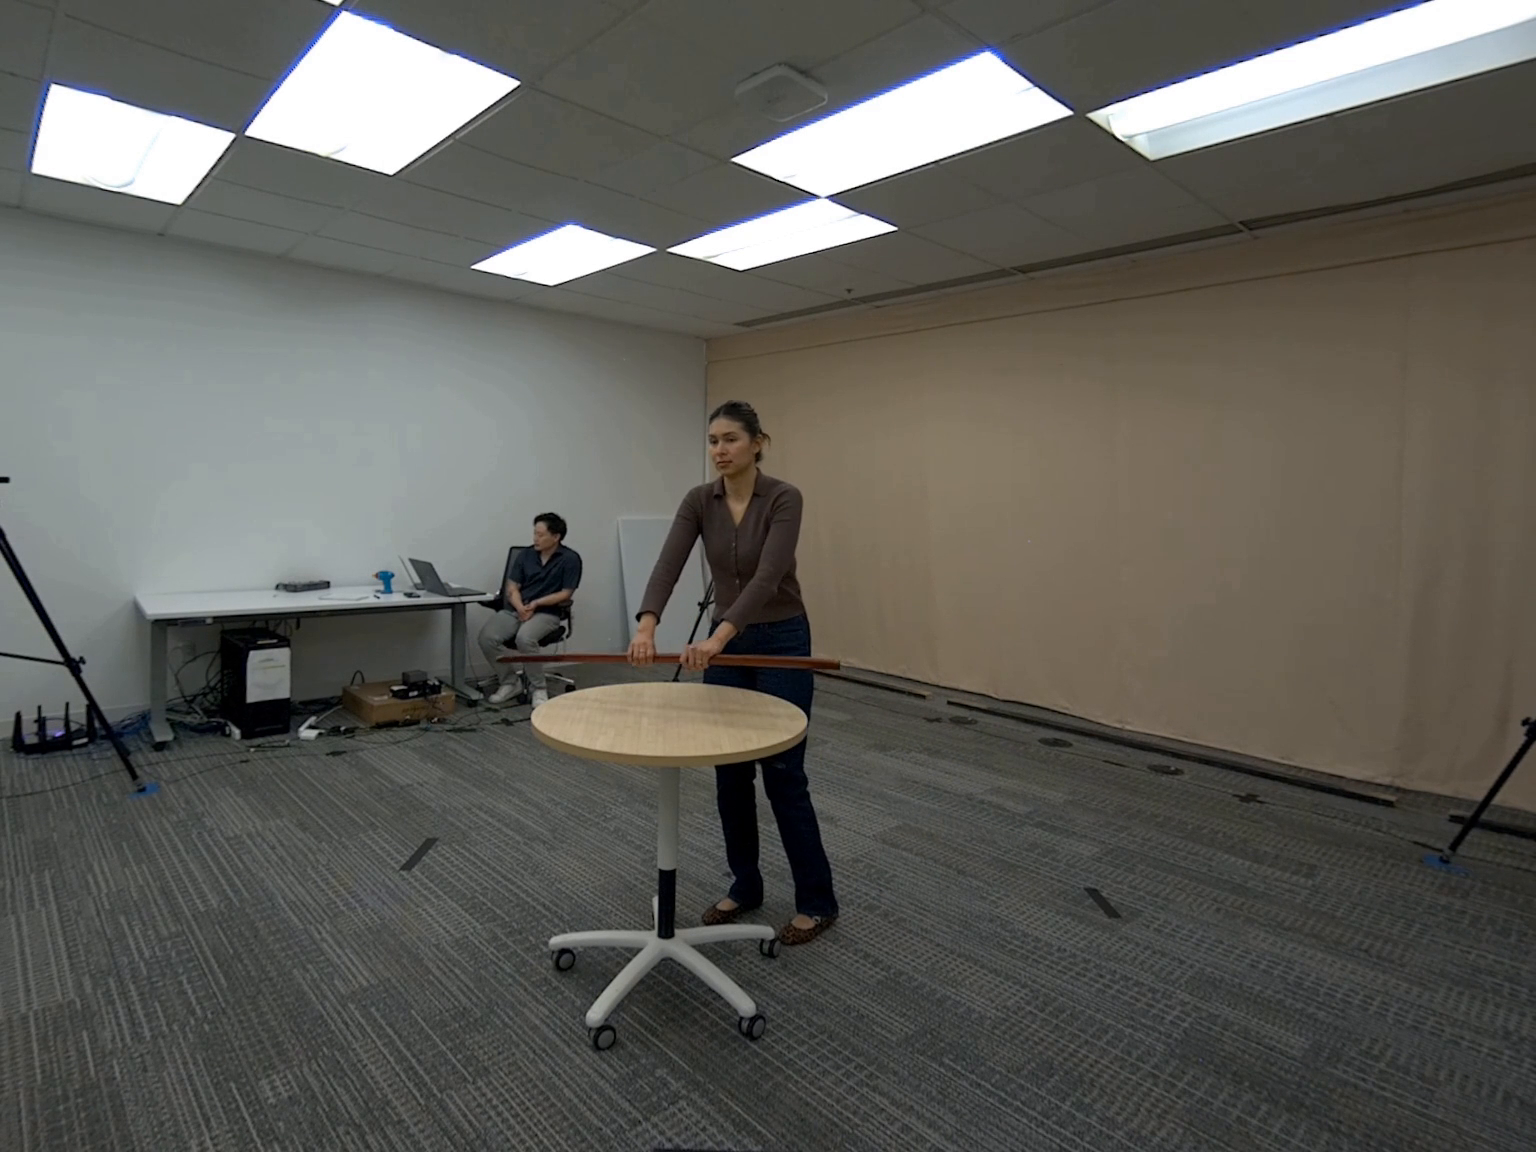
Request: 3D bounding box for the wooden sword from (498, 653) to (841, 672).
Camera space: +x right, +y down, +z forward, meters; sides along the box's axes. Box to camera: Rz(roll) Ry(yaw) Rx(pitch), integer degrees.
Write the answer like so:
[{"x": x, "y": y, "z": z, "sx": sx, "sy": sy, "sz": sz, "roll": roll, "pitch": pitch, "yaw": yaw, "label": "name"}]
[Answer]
[{"x": -0.287, "y": 0.251, "z": 2.359, "sx": 1.035, "sy": 0.024, "sz": 0.050, "roll": 0, "pitch": -15, "yaw": 13, "label": "wooden sword"}]
